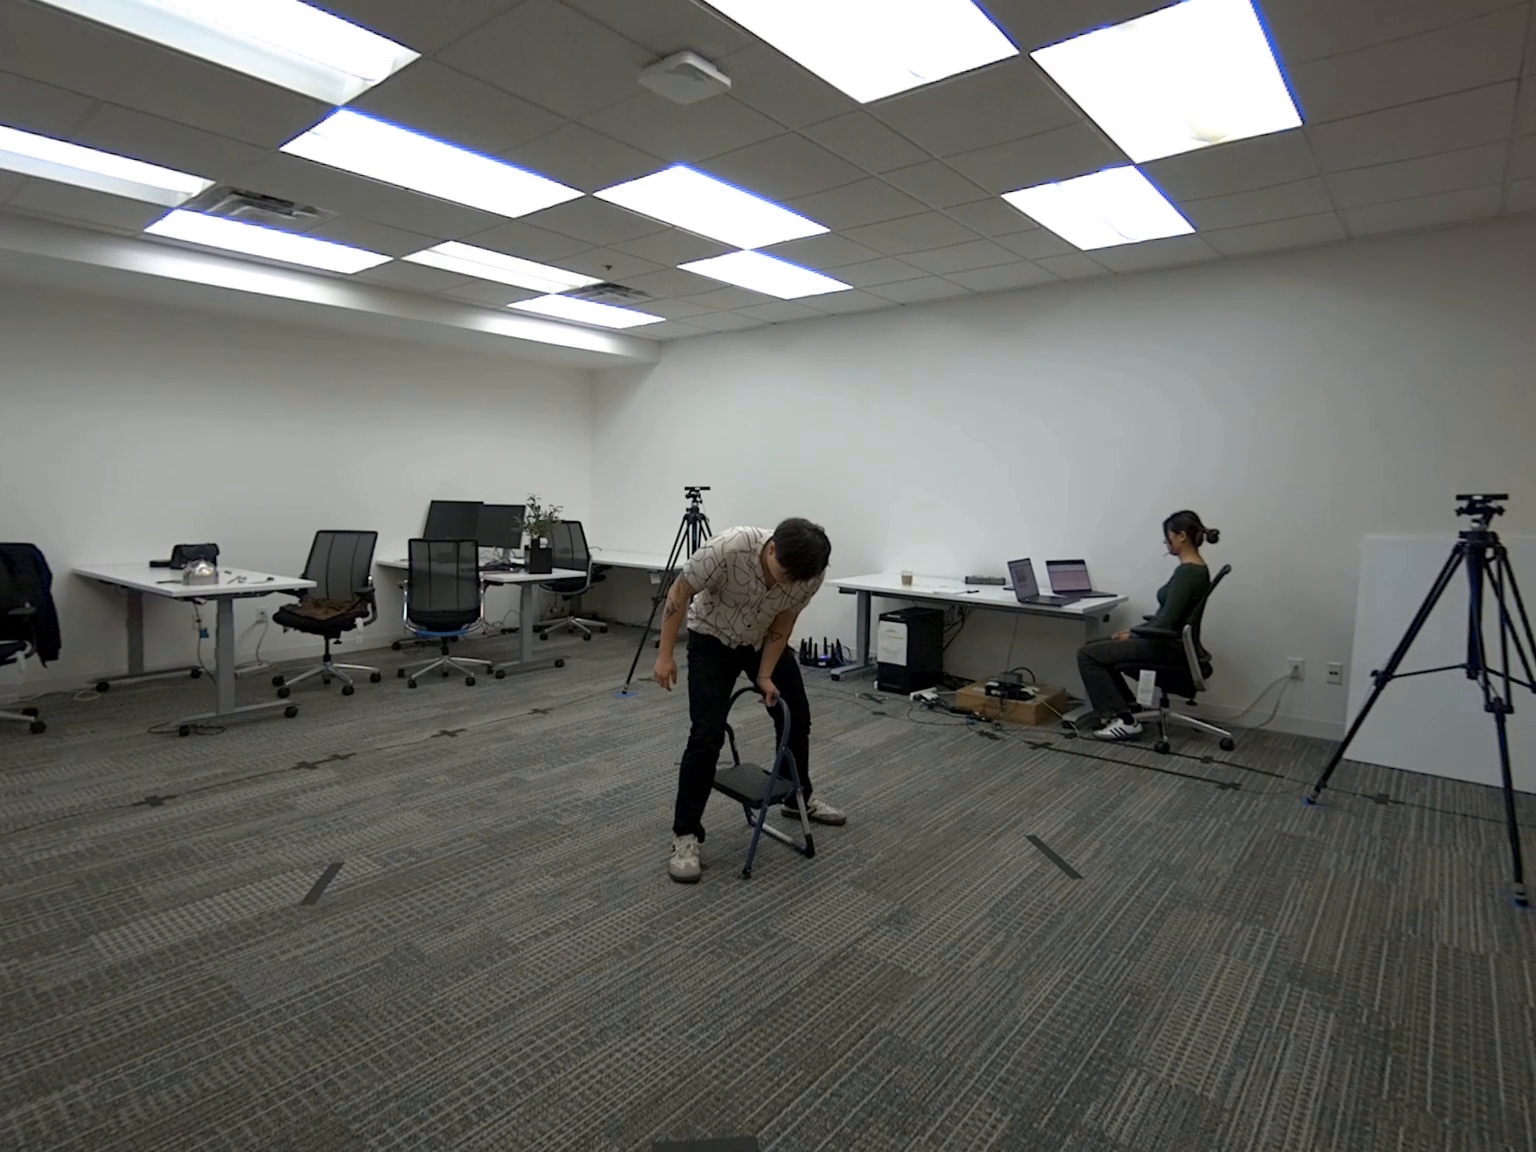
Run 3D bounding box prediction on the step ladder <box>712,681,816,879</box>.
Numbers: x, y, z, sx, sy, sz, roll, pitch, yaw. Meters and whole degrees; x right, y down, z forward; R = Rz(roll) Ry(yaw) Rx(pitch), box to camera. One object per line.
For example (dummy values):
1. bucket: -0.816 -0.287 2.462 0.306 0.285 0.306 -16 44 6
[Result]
1. step ladder: -0.081 0.745 3.270 0.339 0.604 0.445 -2 4 -37
